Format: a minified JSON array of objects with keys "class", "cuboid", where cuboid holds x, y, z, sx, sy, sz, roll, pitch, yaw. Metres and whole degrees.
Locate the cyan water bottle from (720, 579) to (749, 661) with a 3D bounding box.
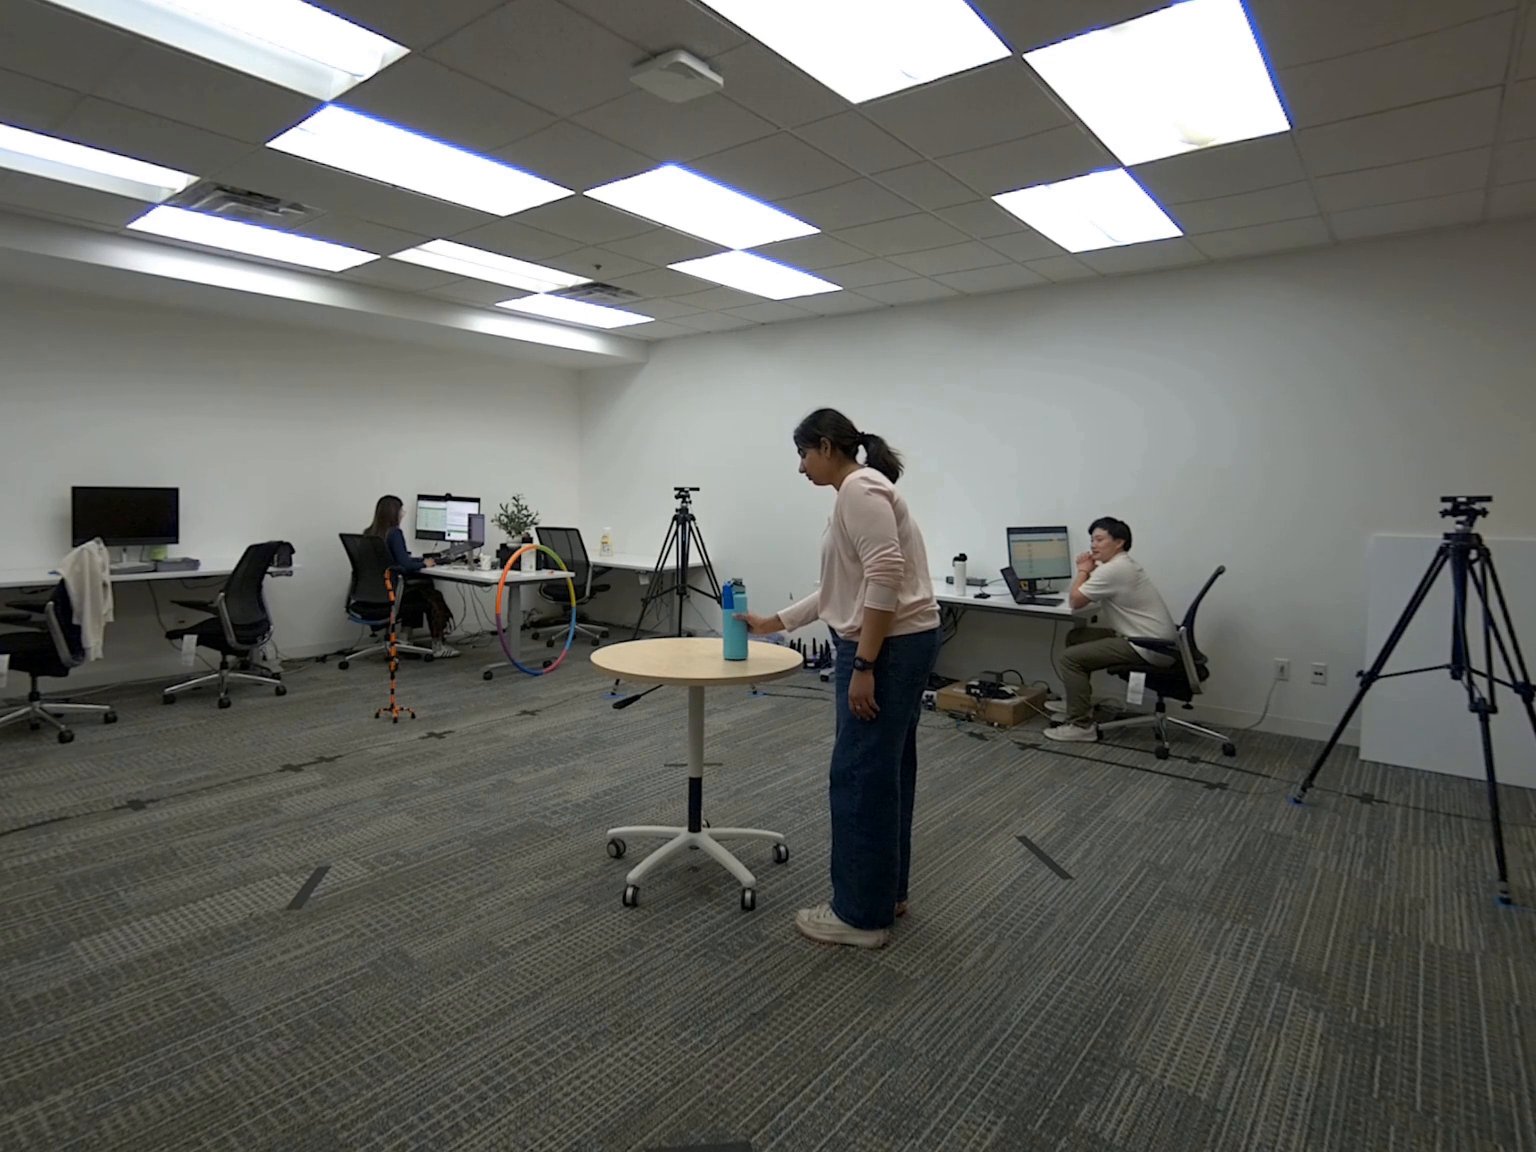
[{"class":"cyan water bottle","cuboid":[-0.126,0.149,3.022,0.092,0.284,0.092,-2,-1,-2]}]
